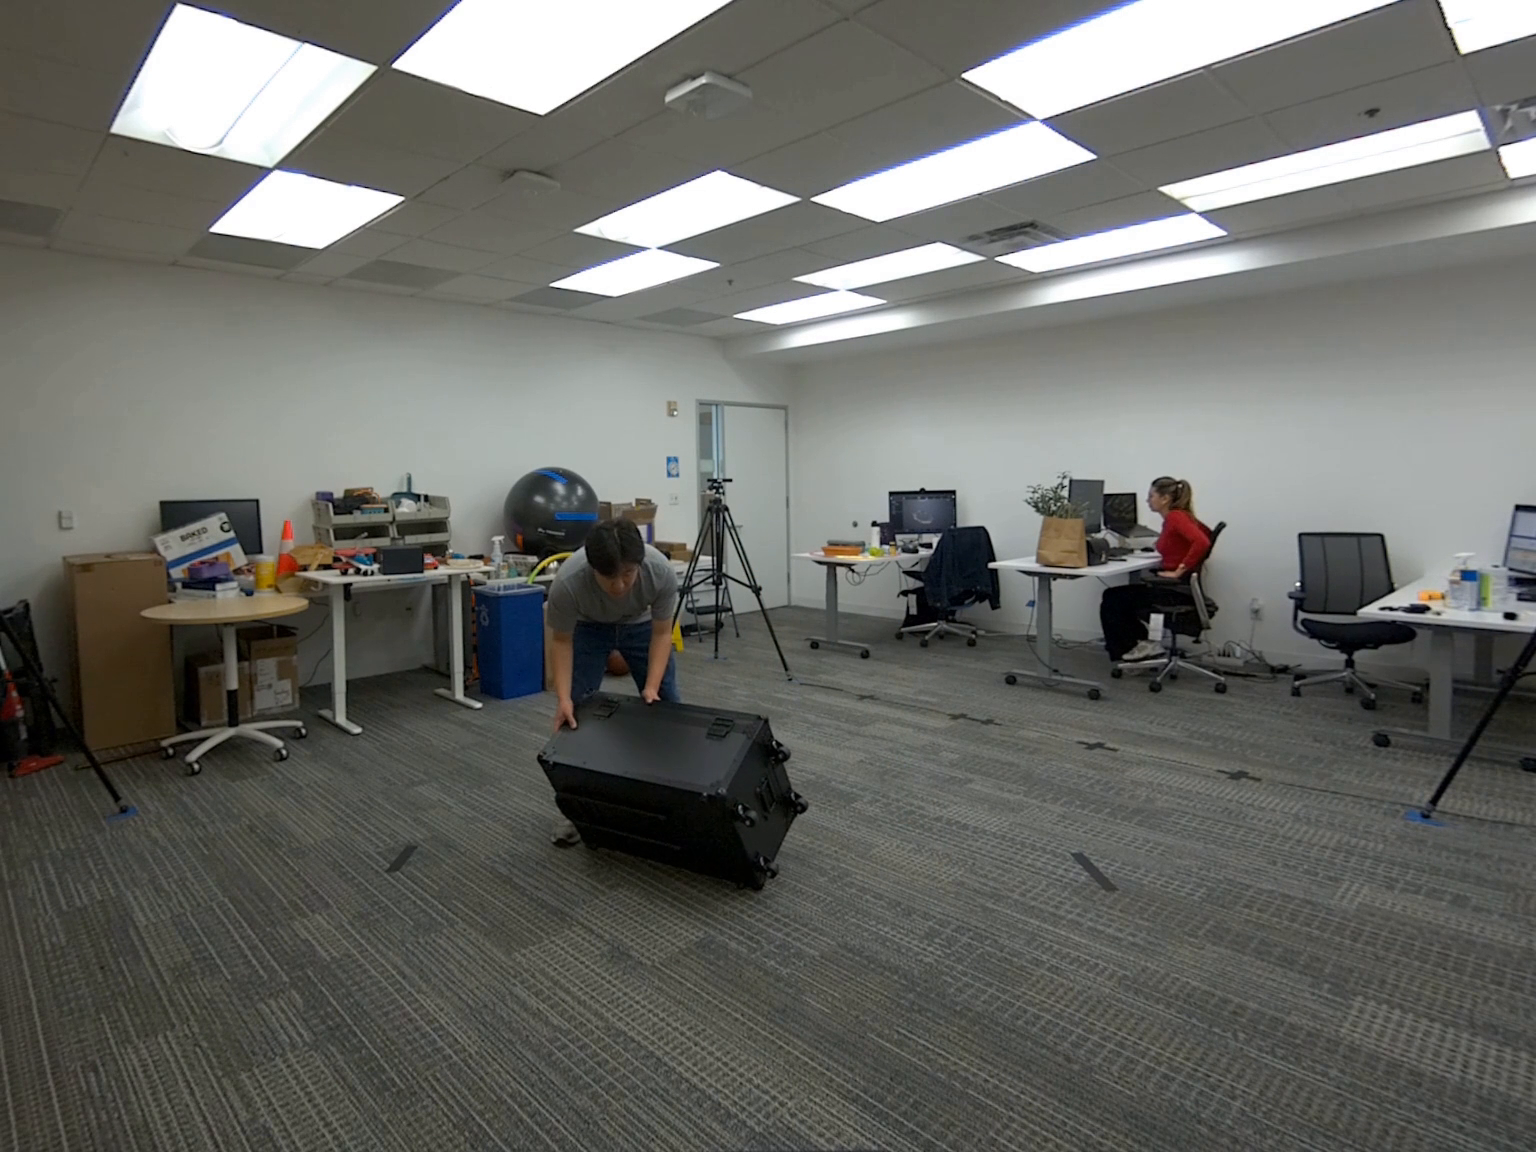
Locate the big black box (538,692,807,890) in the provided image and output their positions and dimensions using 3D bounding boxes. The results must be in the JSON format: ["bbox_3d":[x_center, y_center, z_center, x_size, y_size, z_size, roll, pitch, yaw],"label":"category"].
[{"bbox_3d":[-0.330,0.756,3.067,0.884,0.505,0.398,2,37,29],"label":"big black box"}]
